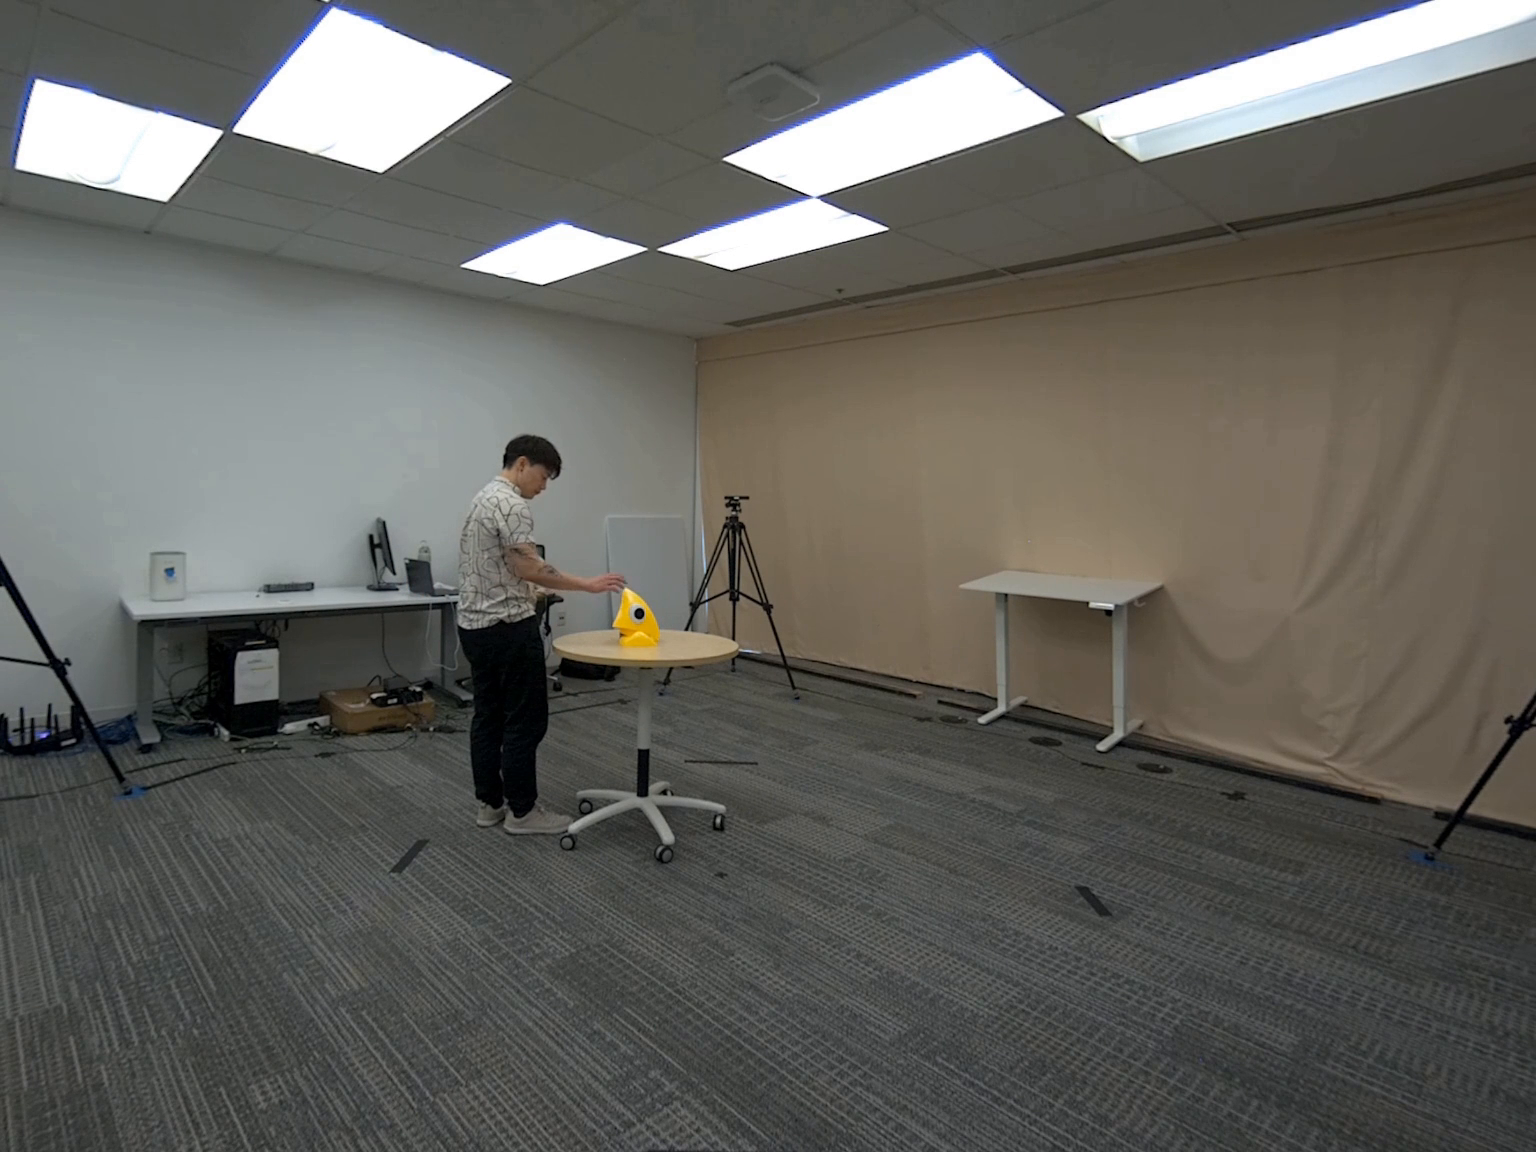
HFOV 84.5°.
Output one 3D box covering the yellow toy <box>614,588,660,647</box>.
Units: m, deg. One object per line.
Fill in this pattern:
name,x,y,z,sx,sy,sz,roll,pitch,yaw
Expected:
yellow toy,-0.553,0.163,3.490,0.192,0.230,0.206,2,3,-3
